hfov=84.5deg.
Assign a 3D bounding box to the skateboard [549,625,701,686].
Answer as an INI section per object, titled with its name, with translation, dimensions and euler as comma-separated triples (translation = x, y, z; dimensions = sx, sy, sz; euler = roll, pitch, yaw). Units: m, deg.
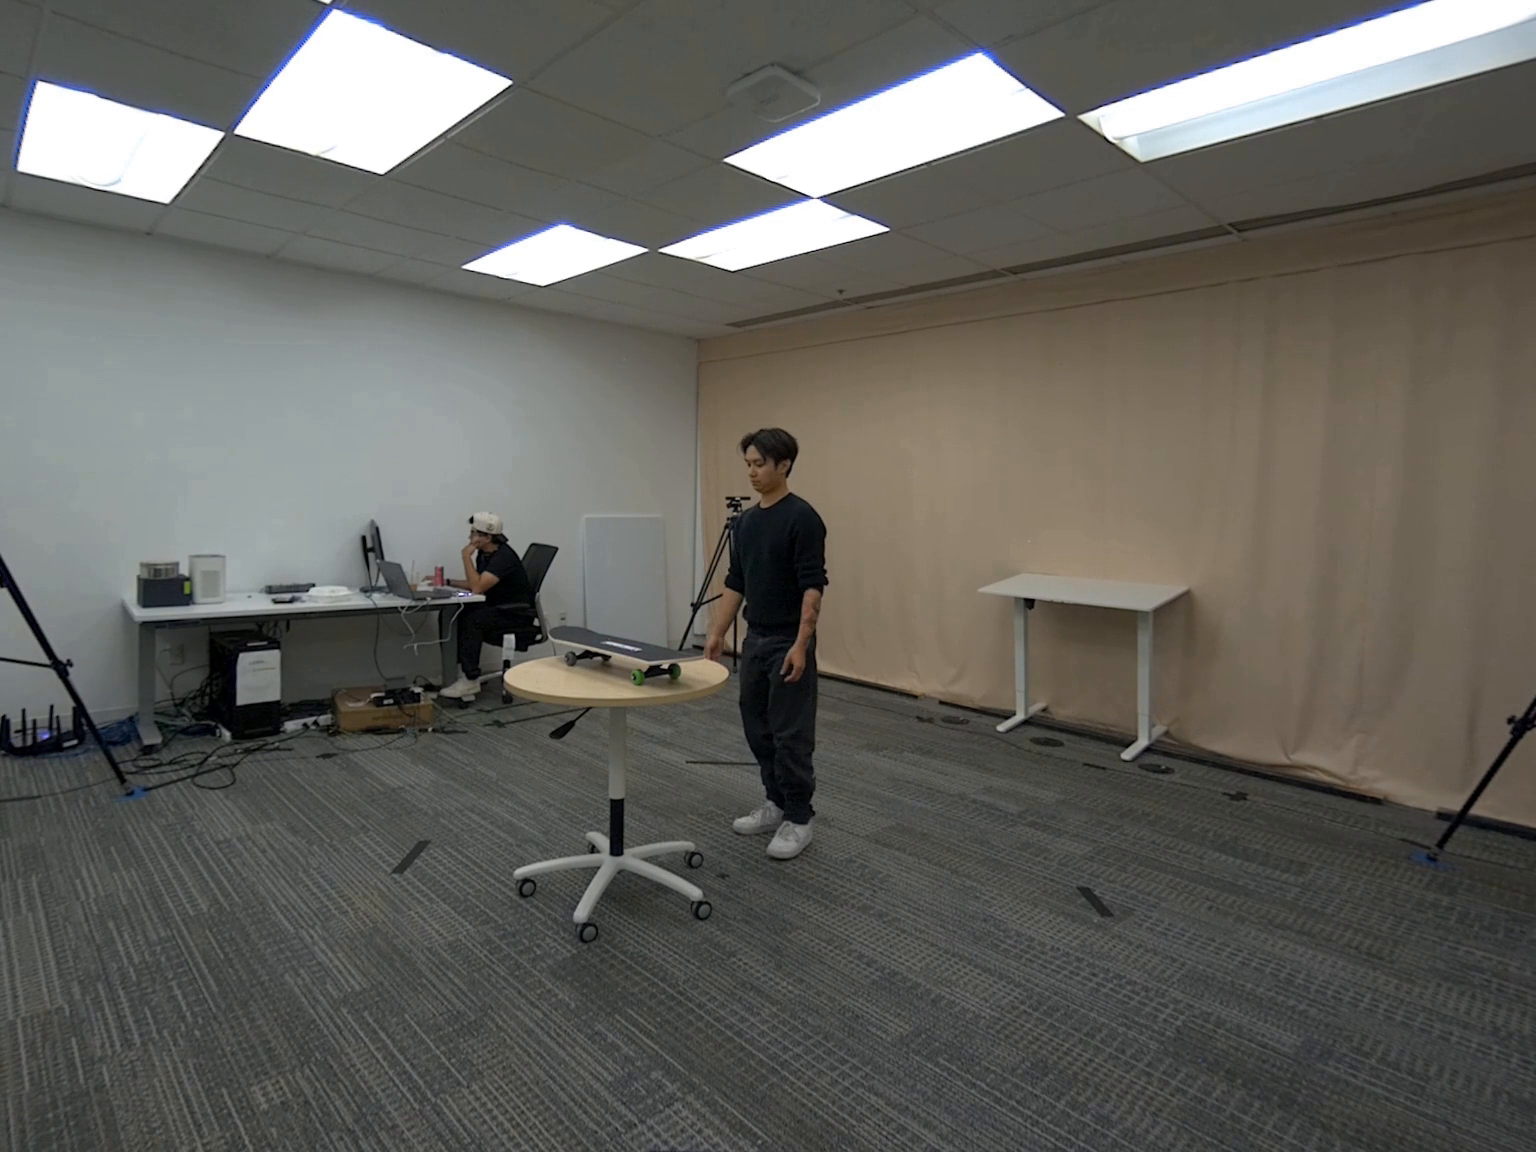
[skateboard]
translation = -0.519, 0.282, 2.925
dimensions = 0.189, 0.110, 0.806
euler = -5, 8, -45
